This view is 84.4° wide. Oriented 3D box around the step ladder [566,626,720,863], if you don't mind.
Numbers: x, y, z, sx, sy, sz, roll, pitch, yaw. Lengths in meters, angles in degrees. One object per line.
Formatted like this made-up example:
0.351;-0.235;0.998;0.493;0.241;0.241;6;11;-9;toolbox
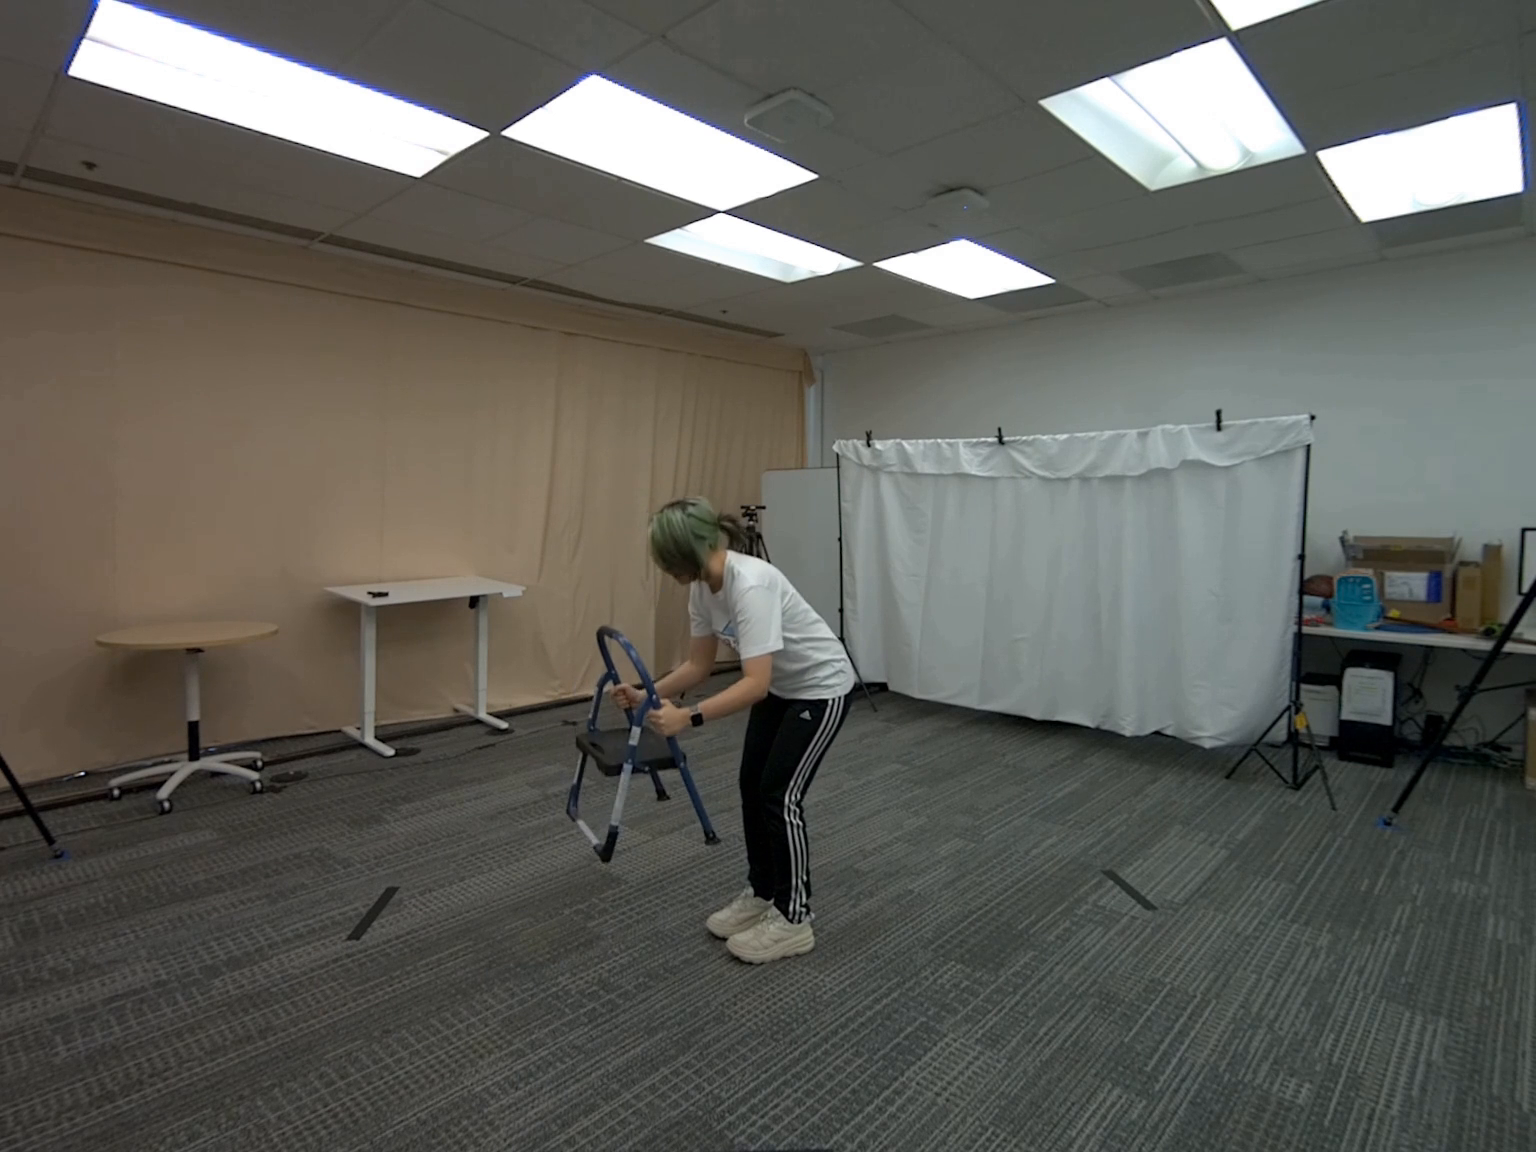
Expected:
-0.389;0.461;2.506;0.341;0.605;0.442;-2;4;-27;step ladder
